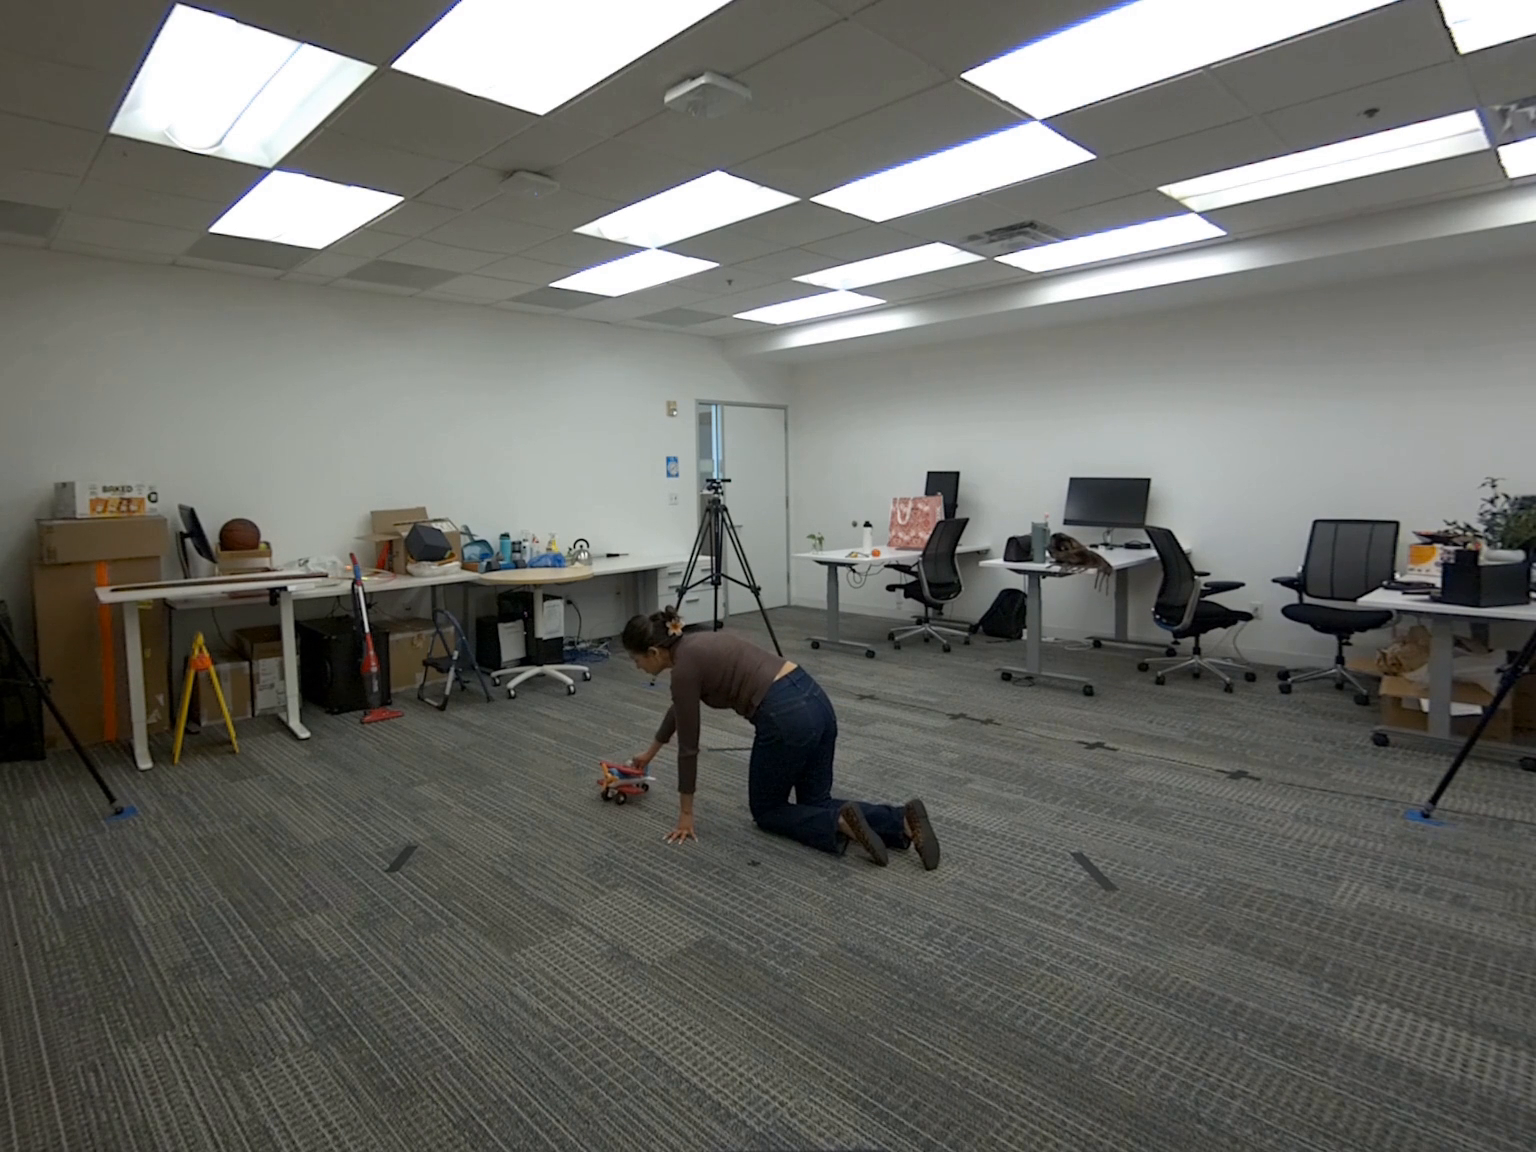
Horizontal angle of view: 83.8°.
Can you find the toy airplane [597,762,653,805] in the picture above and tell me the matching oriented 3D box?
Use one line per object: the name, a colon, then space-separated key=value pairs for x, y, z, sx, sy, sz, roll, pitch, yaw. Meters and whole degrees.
toy airplane: x=-0.639 y=0.906 z=3.802 sx=0.254 sy=0.155 sz=0.258 roll=-1 pitch=7 yaw=10
